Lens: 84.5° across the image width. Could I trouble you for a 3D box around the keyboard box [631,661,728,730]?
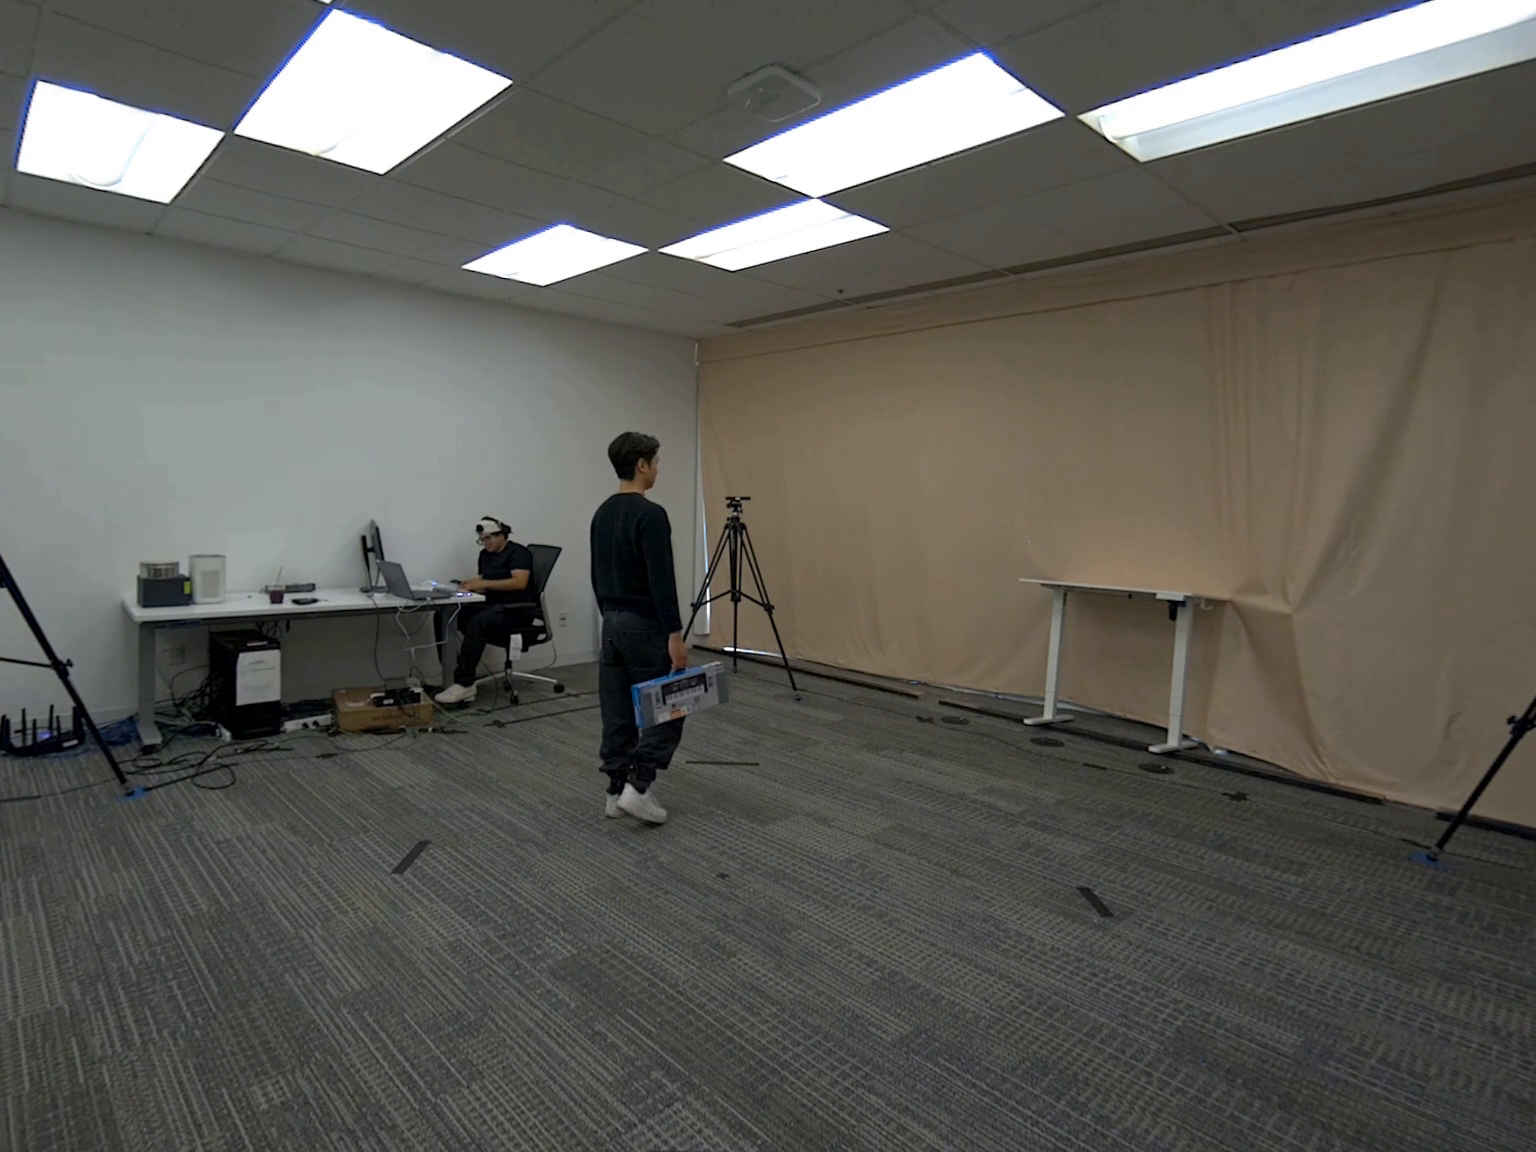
[{"bbox_3d":[-0.372,0.493,3.517,0.429,0.175,0.060,-12,8,-37],"label":"keyboard box"}]
